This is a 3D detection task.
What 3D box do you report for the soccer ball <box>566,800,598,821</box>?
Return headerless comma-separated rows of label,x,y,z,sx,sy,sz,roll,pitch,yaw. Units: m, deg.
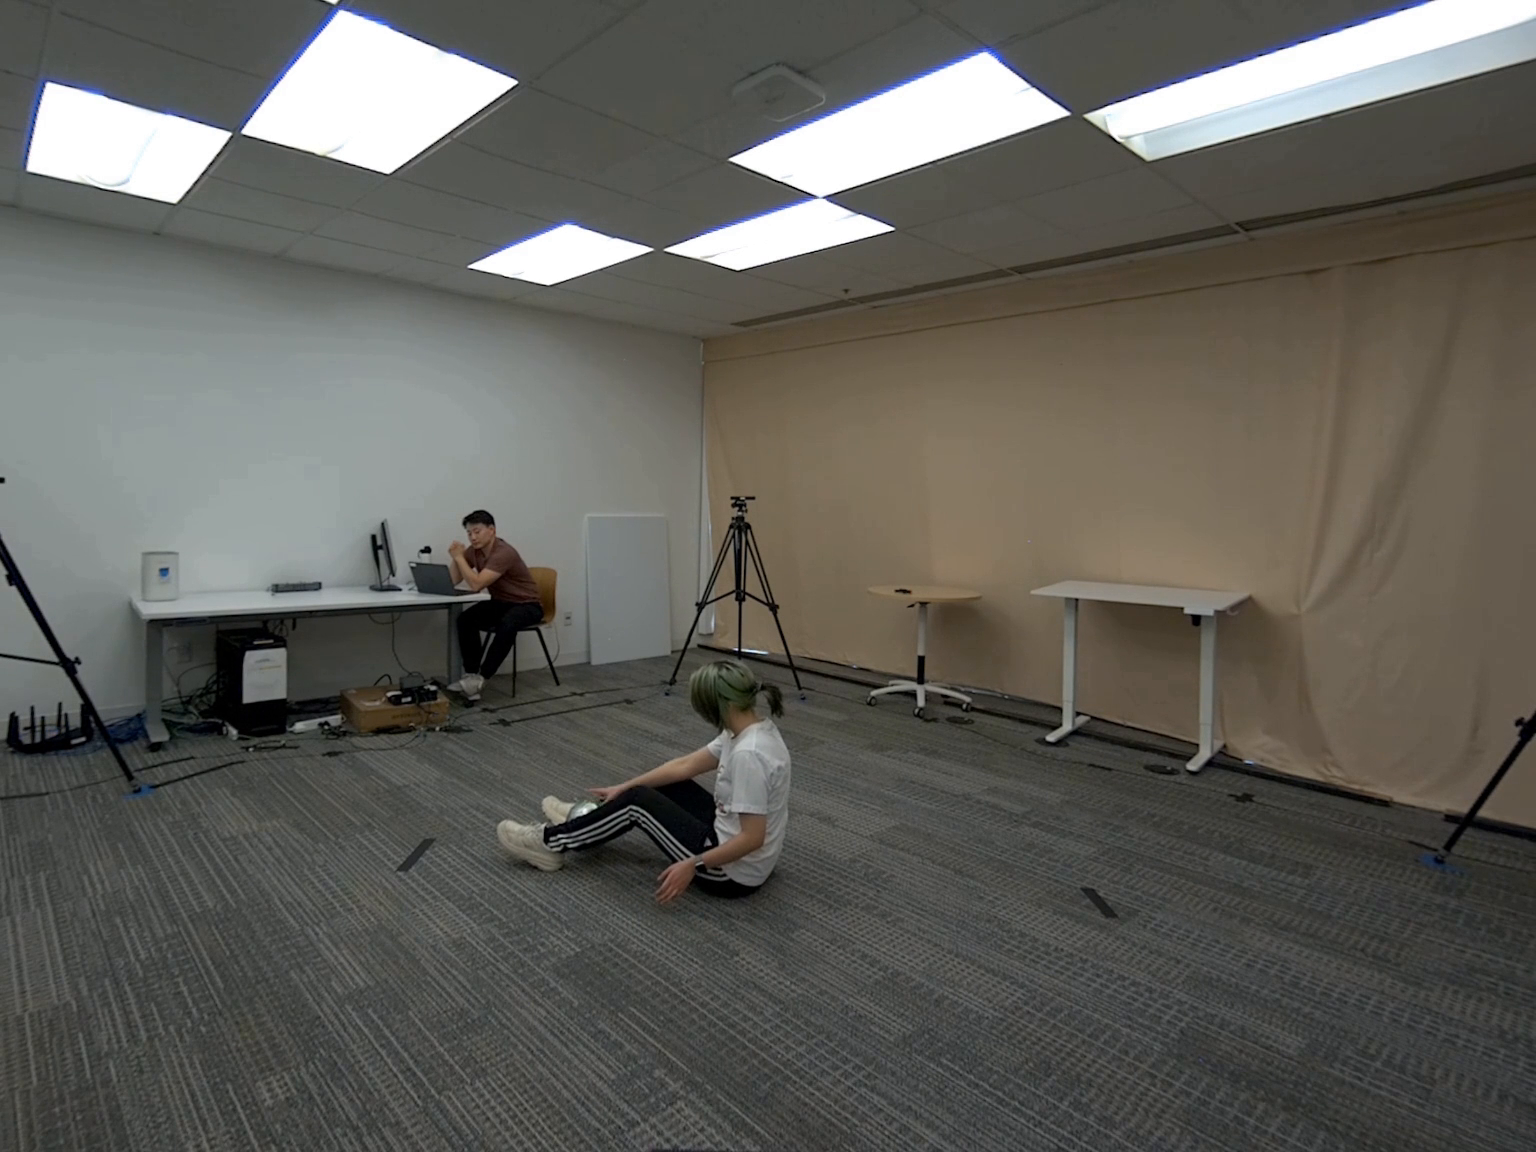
soccer ball,-0.678,0.952,3.217,0.187,0.187,0.188,1,4,-1
